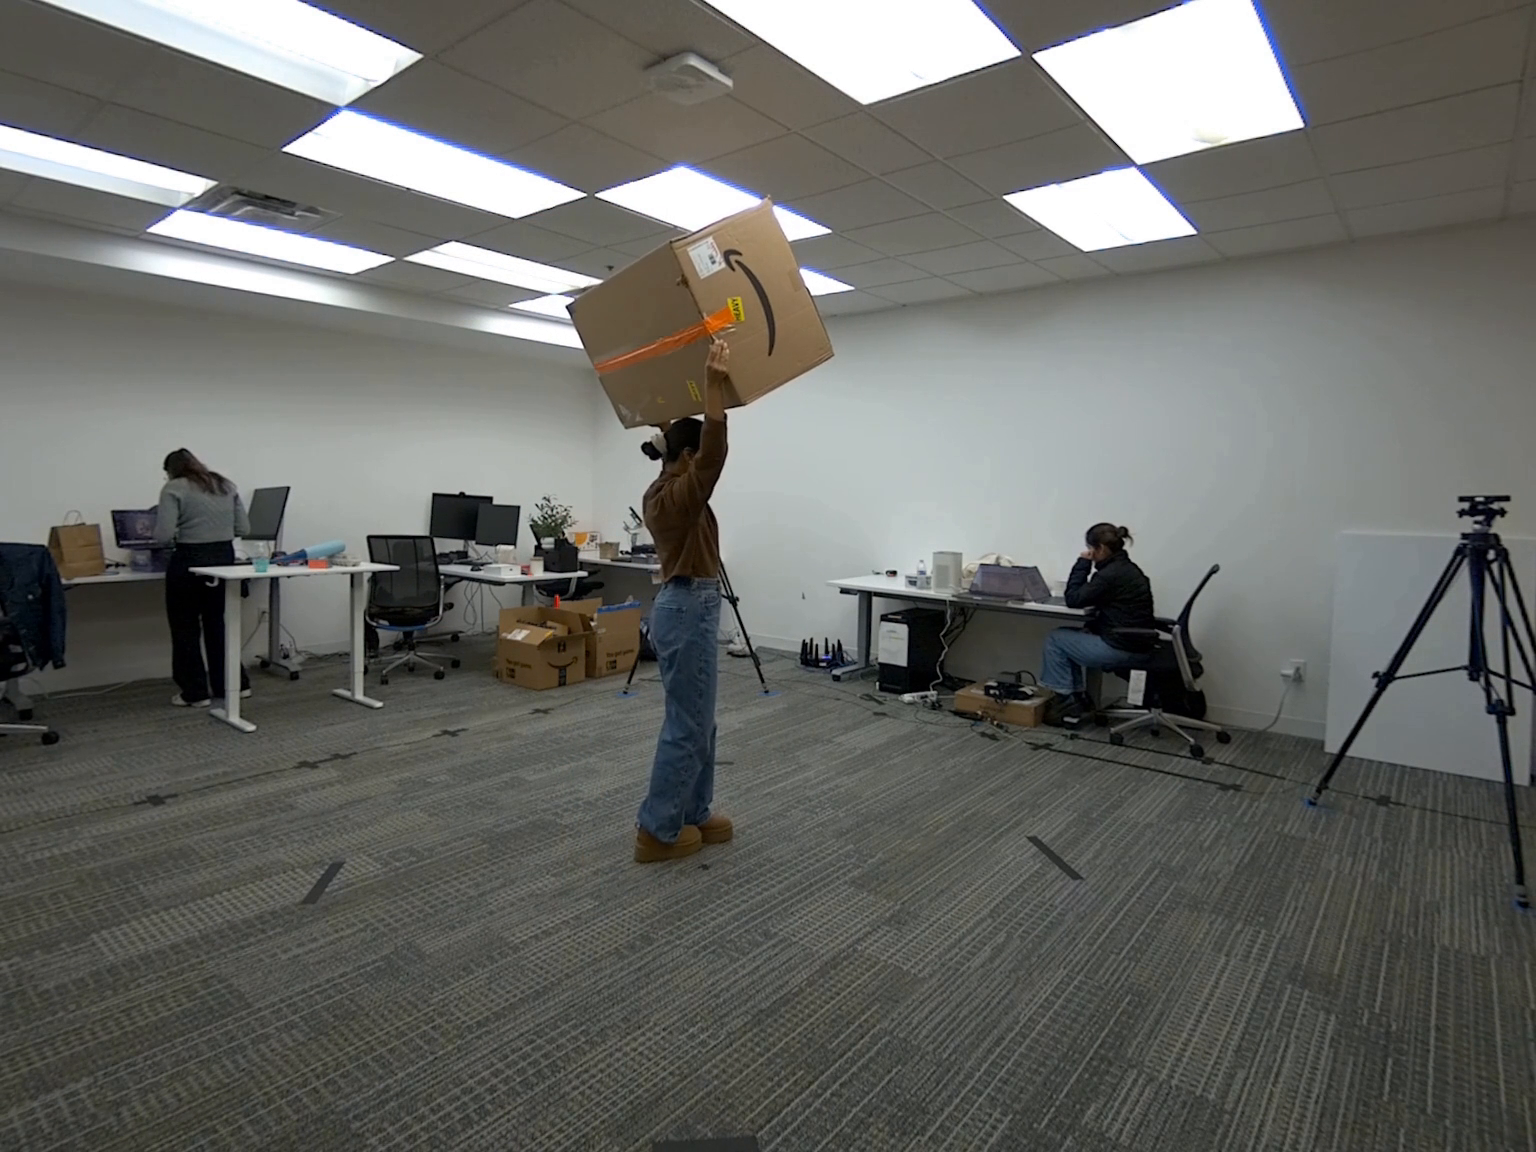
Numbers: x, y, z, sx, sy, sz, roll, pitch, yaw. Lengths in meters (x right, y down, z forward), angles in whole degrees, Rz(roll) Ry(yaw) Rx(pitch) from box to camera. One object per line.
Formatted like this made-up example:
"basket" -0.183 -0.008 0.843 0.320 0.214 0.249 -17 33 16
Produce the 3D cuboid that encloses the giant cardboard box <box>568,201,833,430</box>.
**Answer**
"giant cardboard box" -0.320 -0.946 3.252 0.423 0.565 1.057 -33 20 -25
